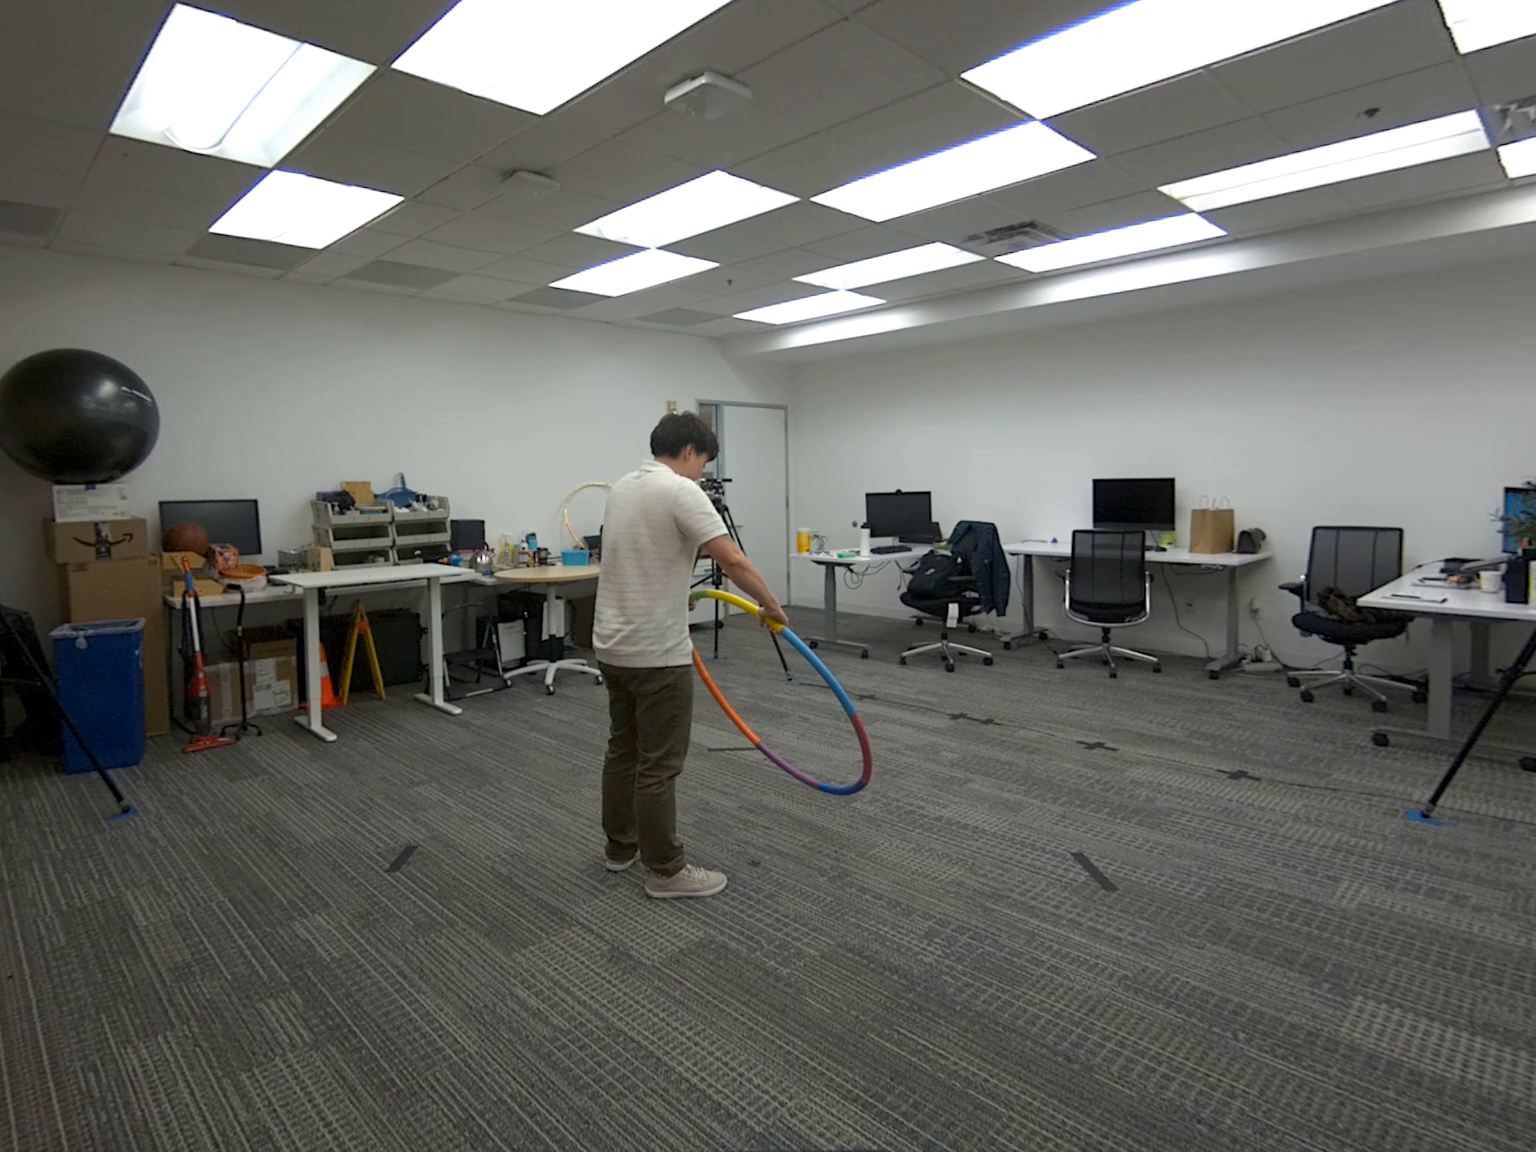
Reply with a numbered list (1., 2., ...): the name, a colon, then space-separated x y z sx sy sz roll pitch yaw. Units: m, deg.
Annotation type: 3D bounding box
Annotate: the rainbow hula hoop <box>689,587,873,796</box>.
1. rainbow hula hoop: 0.009 0.458 3.308 0.035 0.955 1.008 -38 24 -27
